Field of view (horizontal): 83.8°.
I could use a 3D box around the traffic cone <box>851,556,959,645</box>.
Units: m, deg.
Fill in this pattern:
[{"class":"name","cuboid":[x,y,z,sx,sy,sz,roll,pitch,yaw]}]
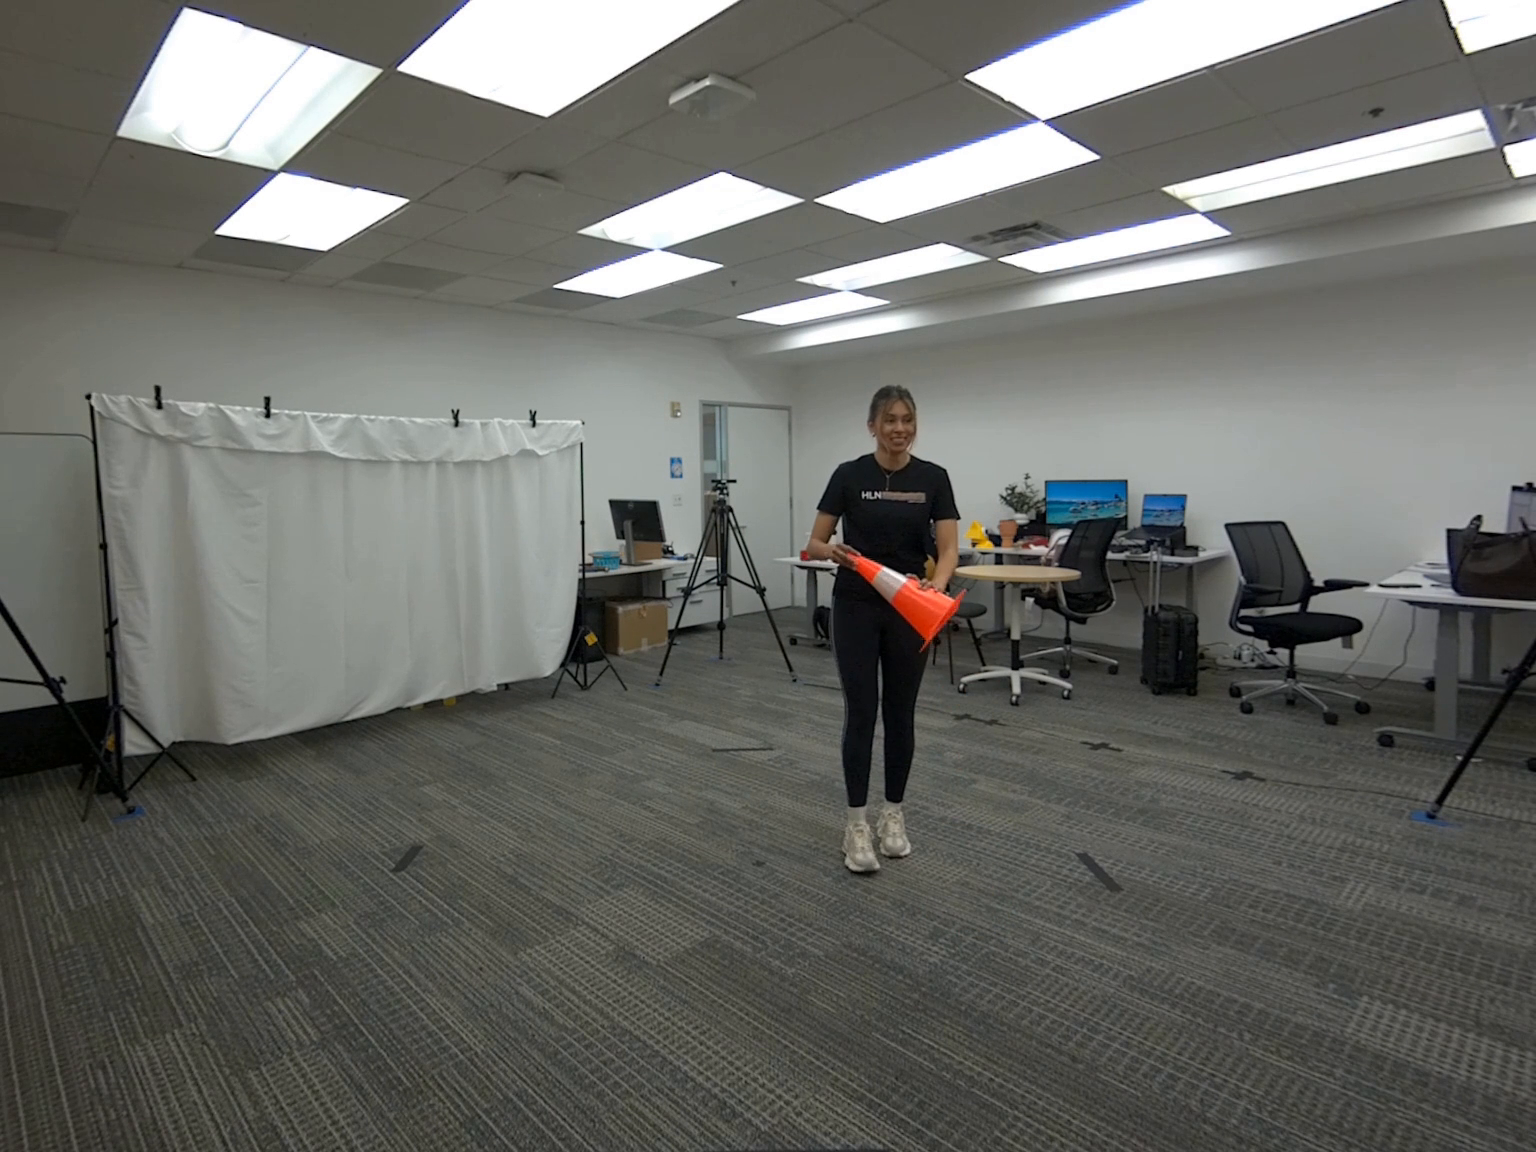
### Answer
[{"class":"traffic cone","cuboid":[0.421,0.039,2.820,0.394,0.203,0.200,37,-20,20]}]
